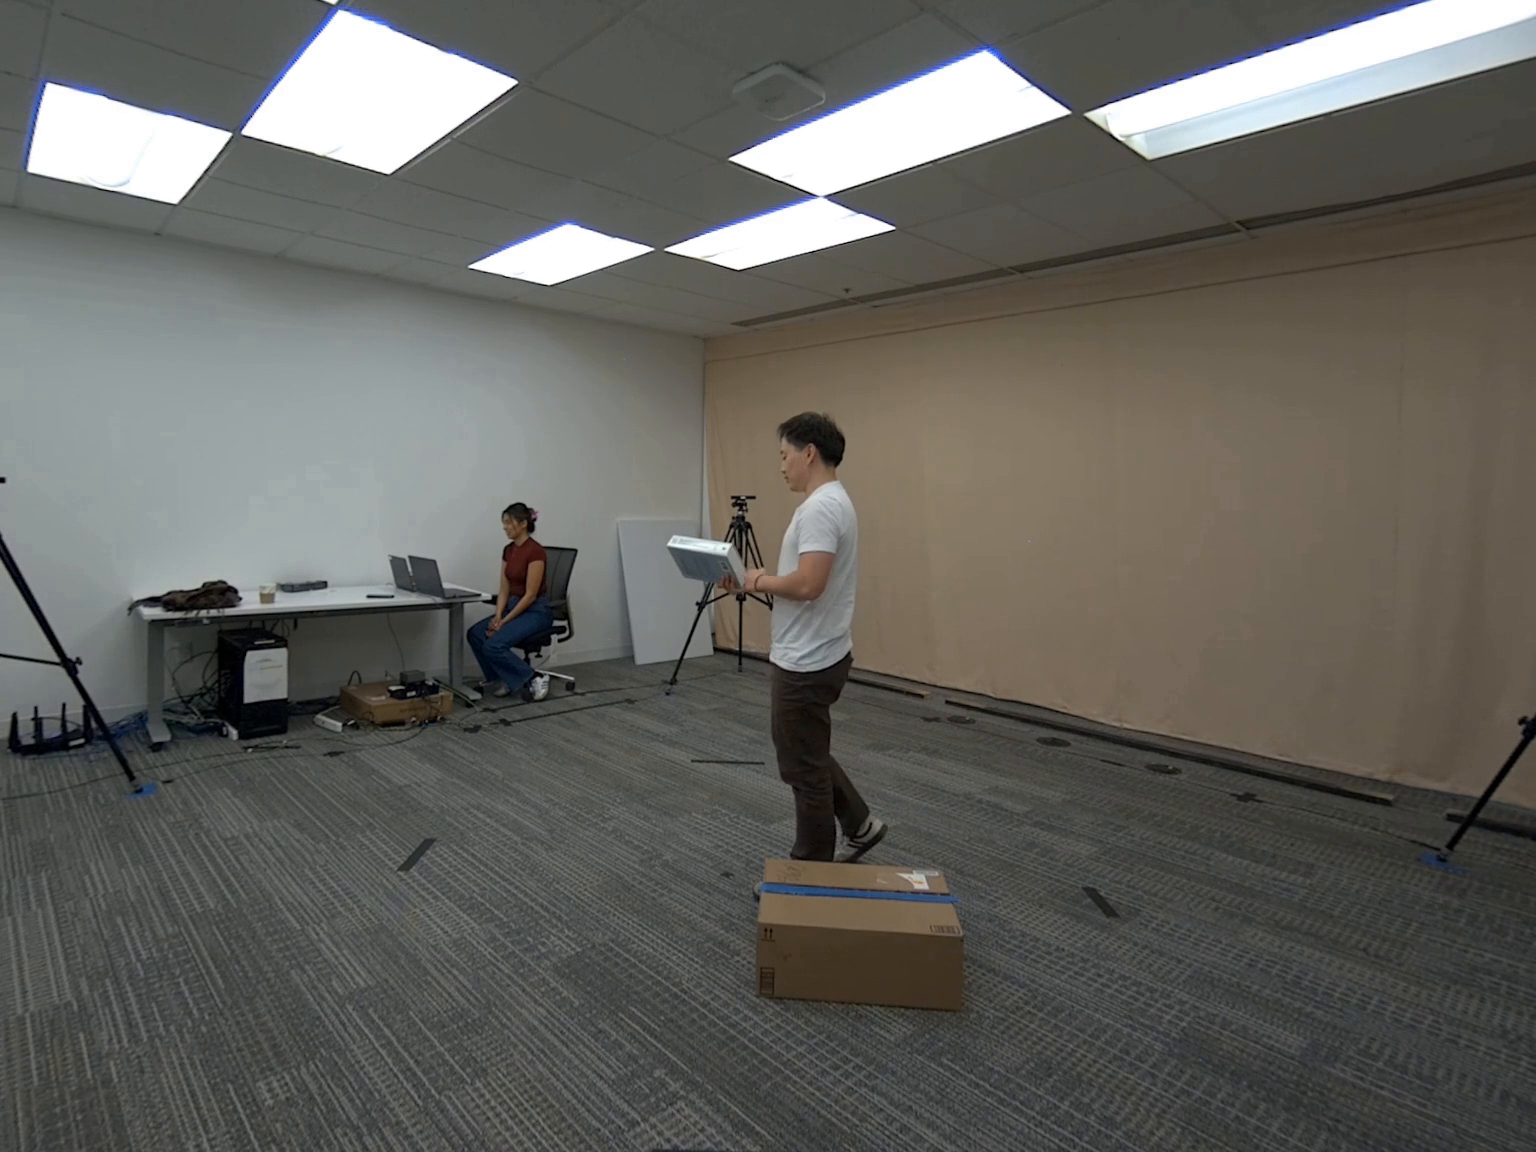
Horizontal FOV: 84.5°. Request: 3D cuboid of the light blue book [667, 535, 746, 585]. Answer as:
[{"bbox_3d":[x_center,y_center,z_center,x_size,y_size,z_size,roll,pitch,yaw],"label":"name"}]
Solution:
[{"bbox_3d":[-0.224,-0.054,3.081,0.267,0.059,0.185,9,-35,30],"label":"light blue book"}]
